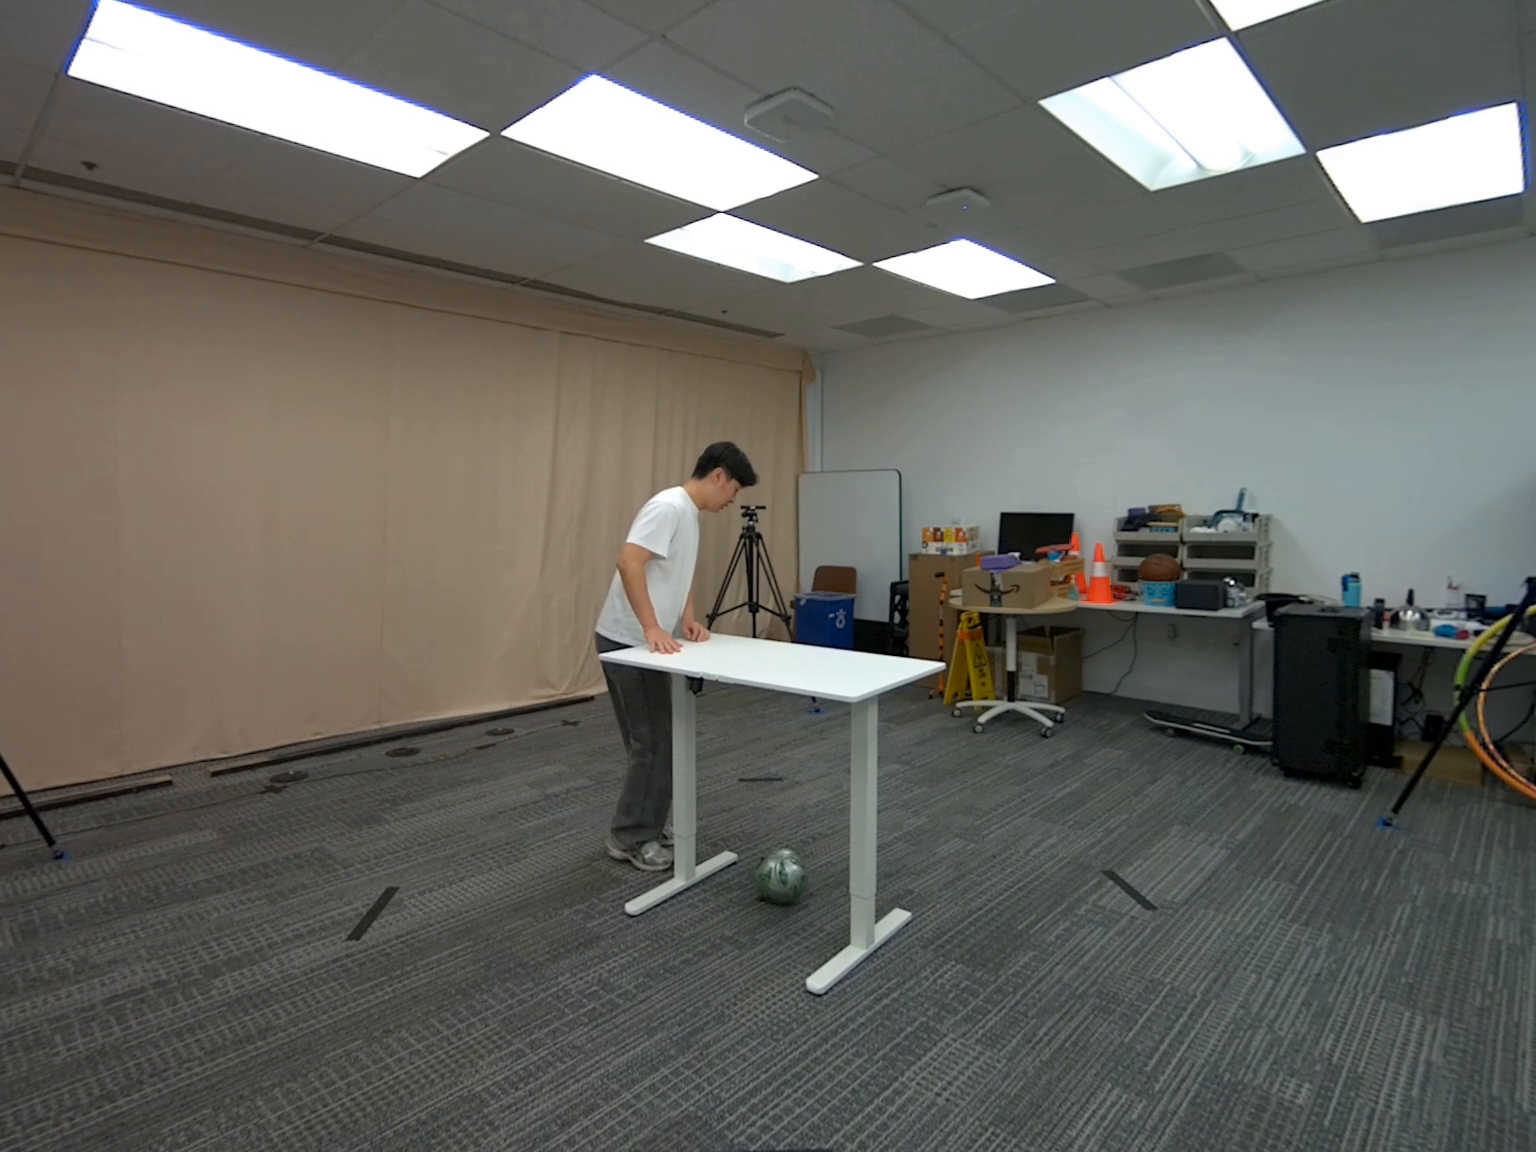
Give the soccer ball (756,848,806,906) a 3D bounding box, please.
[{"bbox_3d":[0.054,1.054,2.959,0.187,0.187,0.188,0,4,-2],"label":"soccer ball"}]
